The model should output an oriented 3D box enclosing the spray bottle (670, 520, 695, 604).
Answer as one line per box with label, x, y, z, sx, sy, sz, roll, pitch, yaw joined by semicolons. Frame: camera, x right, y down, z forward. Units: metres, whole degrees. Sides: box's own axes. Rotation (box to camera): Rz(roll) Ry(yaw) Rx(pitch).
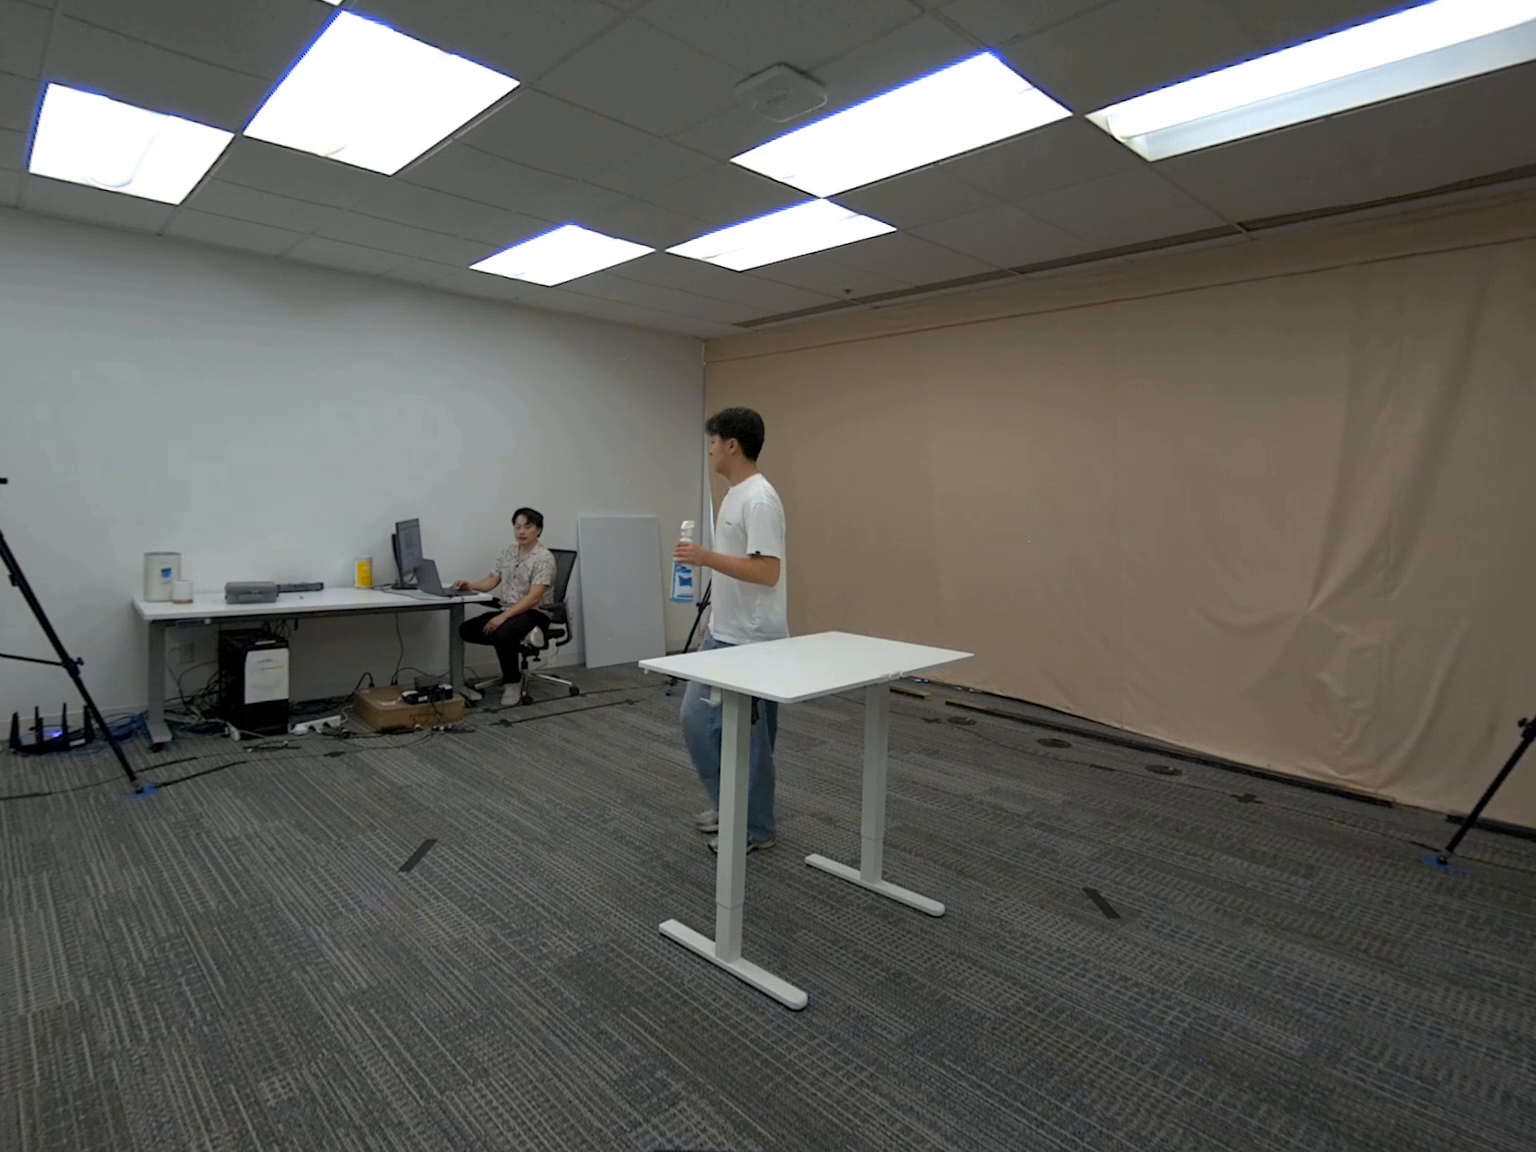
spray bottle;-0.314;-0.050;3.065;0.089;0.297;0.088;4;2;42
